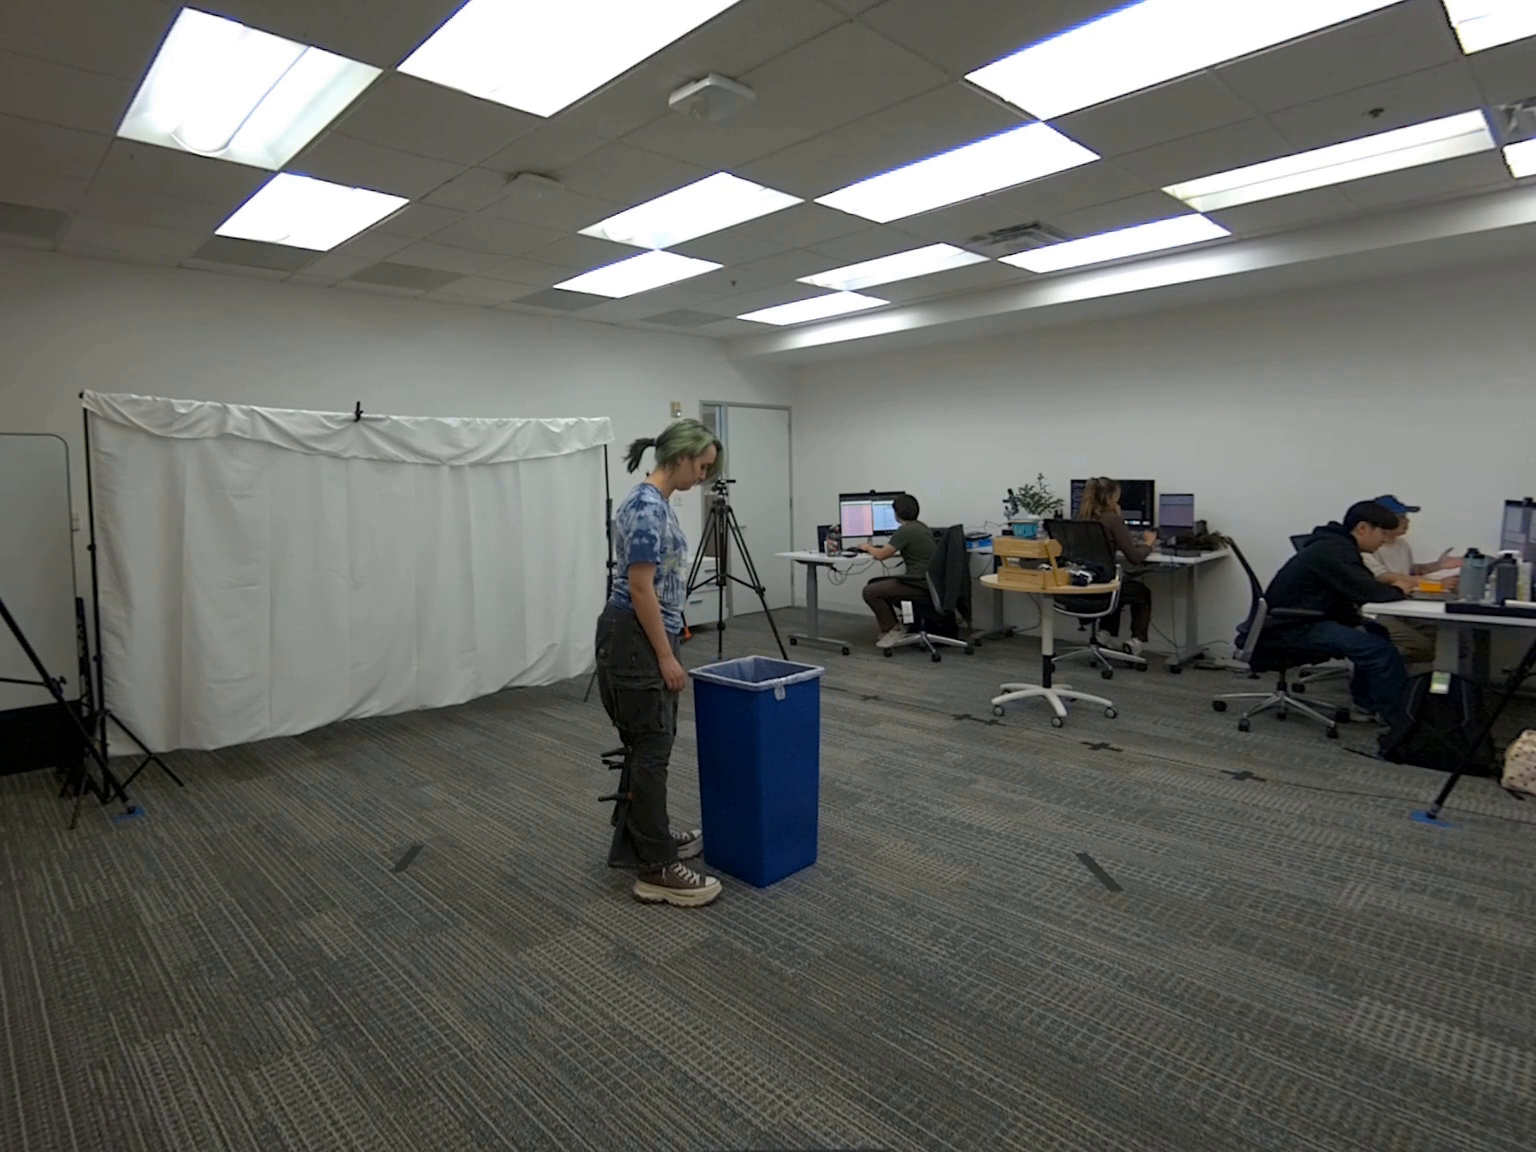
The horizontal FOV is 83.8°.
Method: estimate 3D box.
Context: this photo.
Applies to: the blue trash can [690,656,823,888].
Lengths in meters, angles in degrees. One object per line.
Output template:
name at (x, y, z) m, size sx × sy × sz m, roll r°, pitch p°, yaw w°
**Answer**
blue trash can at (-0.039, 0.688, 3.106) m, size 0.368 × 0.711 × 0.385 m, roll -4°, pitch 5°, yaw -45°
